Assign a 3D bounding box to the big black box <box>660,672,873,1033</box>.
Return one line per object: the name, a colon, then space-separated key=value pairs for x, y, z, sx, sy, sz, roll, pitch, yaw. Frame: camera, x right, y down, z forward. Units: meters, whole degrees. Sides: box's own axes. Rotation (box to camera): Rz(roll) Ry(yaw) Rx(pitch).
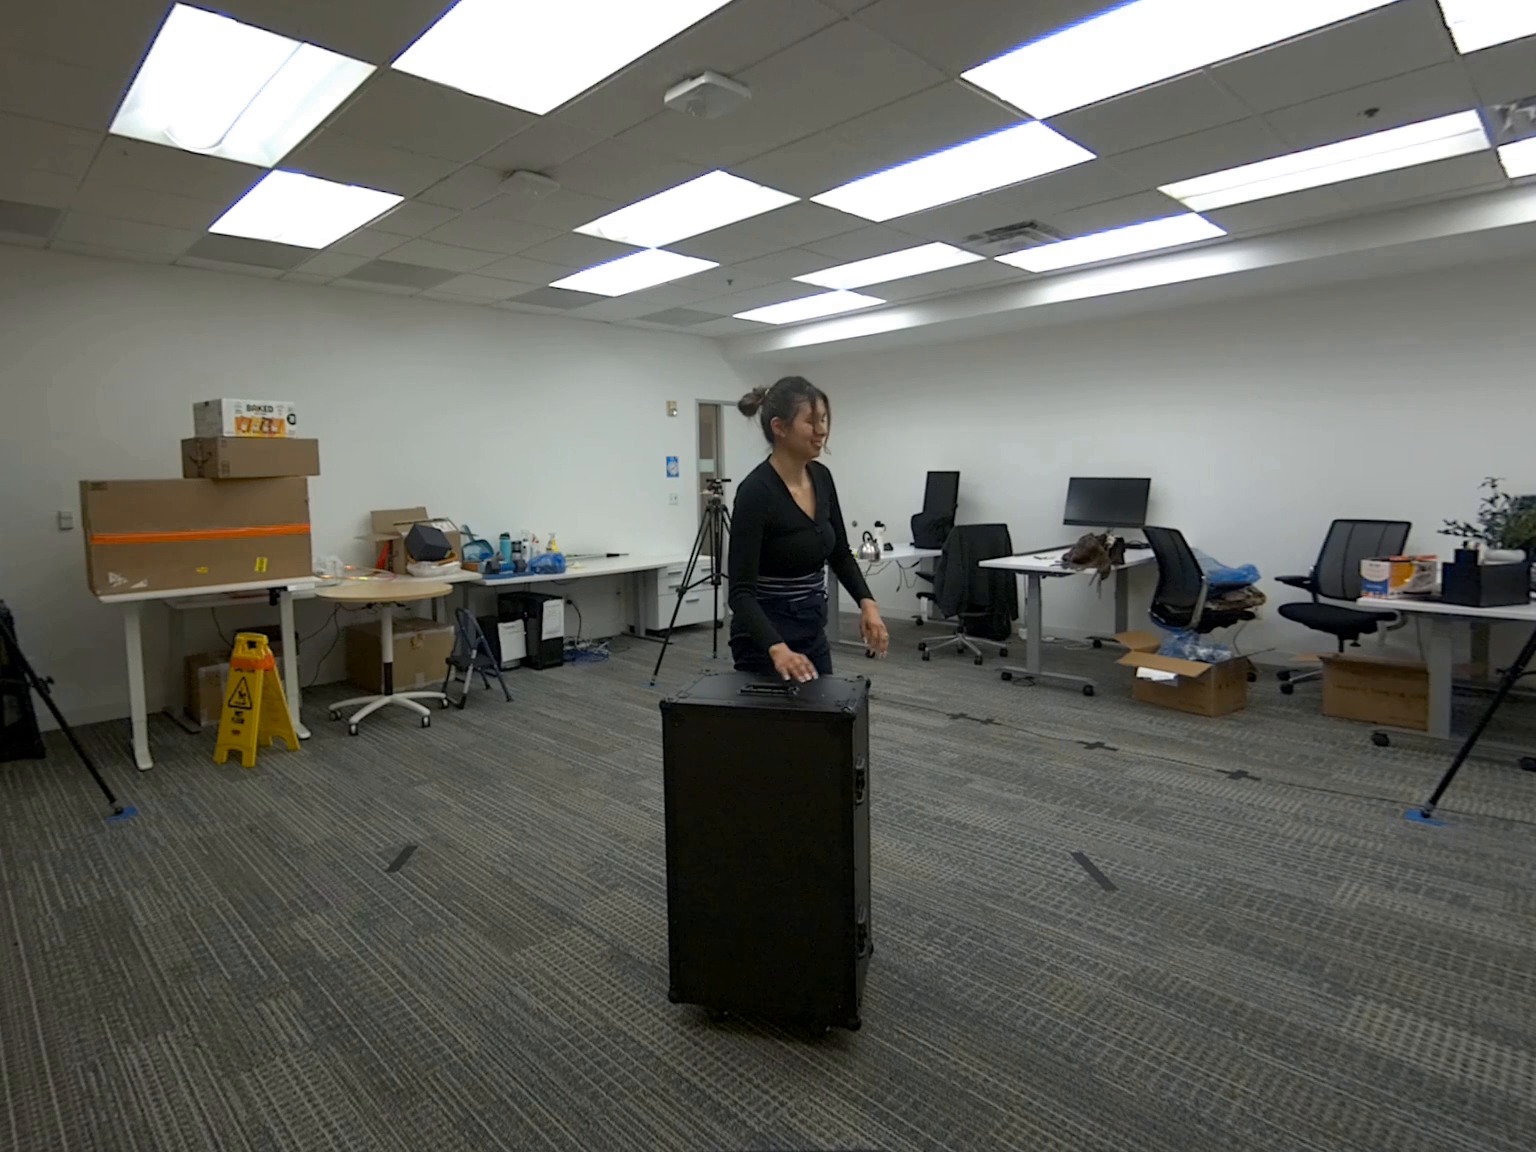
big black box: x=0.011 y=0.718 z=2.265 sx=0.529 sy=0.859 sz=0.391 roll=0 pitch=3 yaw=15
